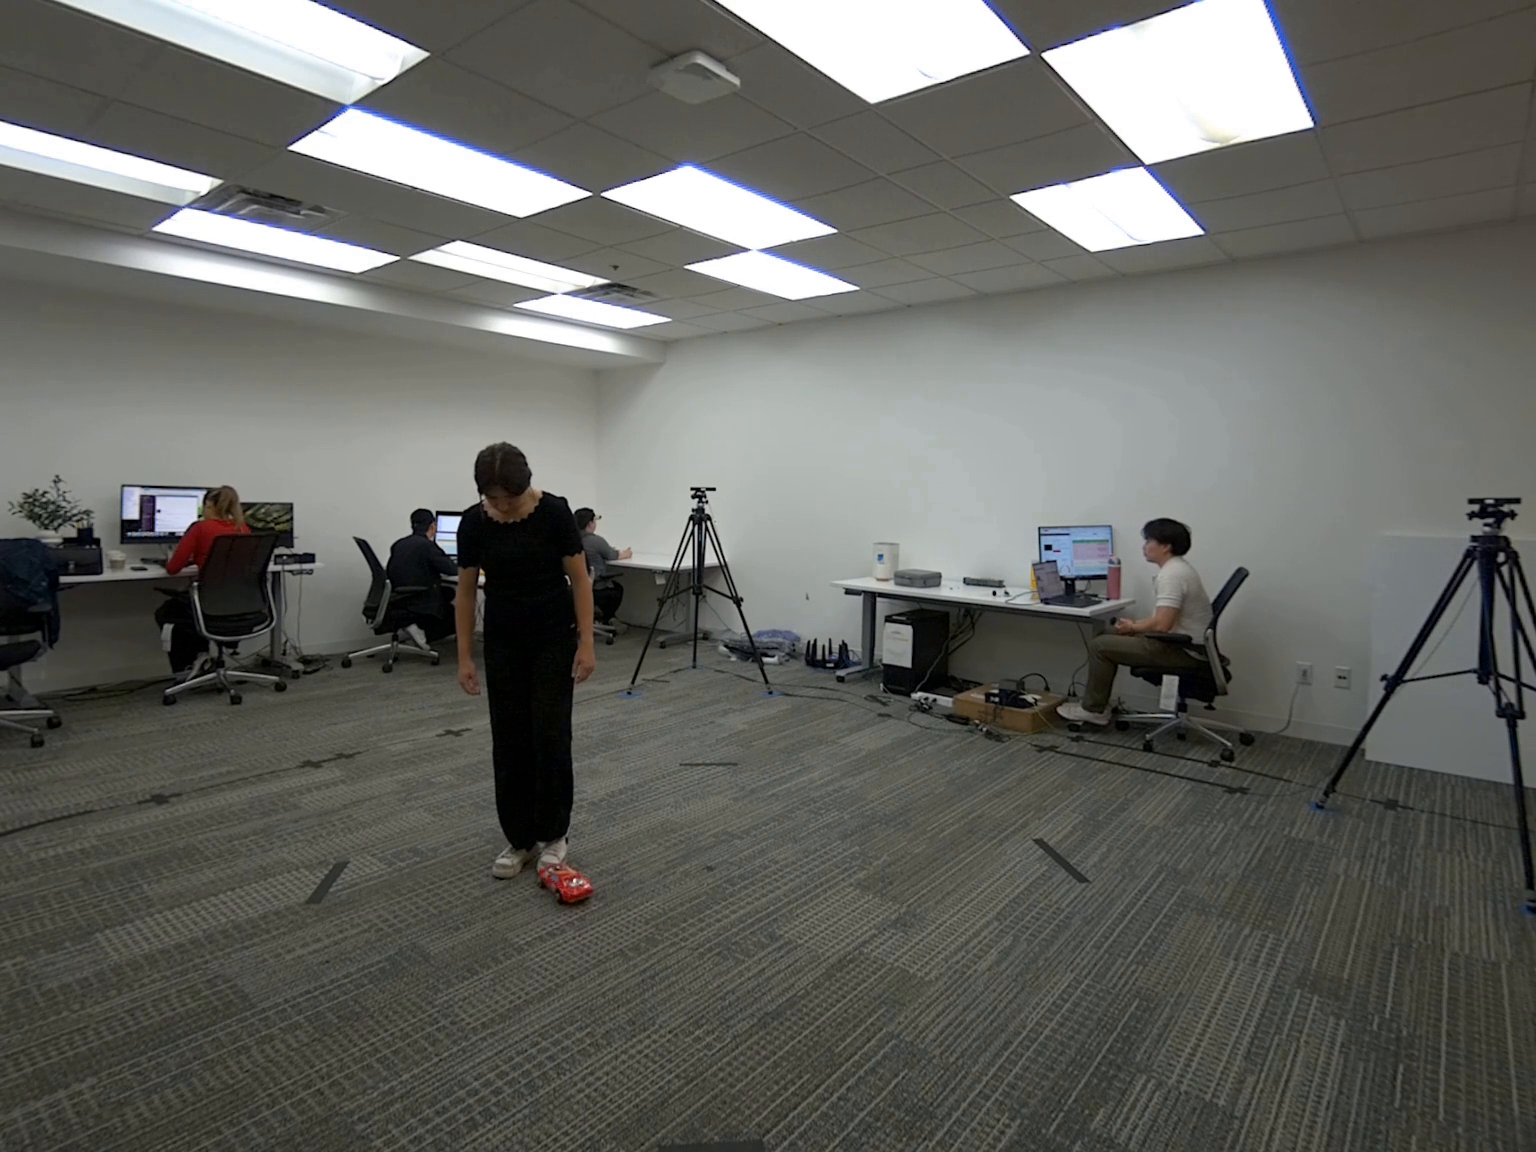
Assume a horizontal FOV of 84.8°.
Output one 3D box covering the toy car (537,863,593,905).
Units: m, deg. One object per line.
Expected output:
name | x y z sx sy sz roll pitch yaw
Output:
toy car | -0.699 1.047 2.893 0.126 0.083 0.261 -4 -3 -38
